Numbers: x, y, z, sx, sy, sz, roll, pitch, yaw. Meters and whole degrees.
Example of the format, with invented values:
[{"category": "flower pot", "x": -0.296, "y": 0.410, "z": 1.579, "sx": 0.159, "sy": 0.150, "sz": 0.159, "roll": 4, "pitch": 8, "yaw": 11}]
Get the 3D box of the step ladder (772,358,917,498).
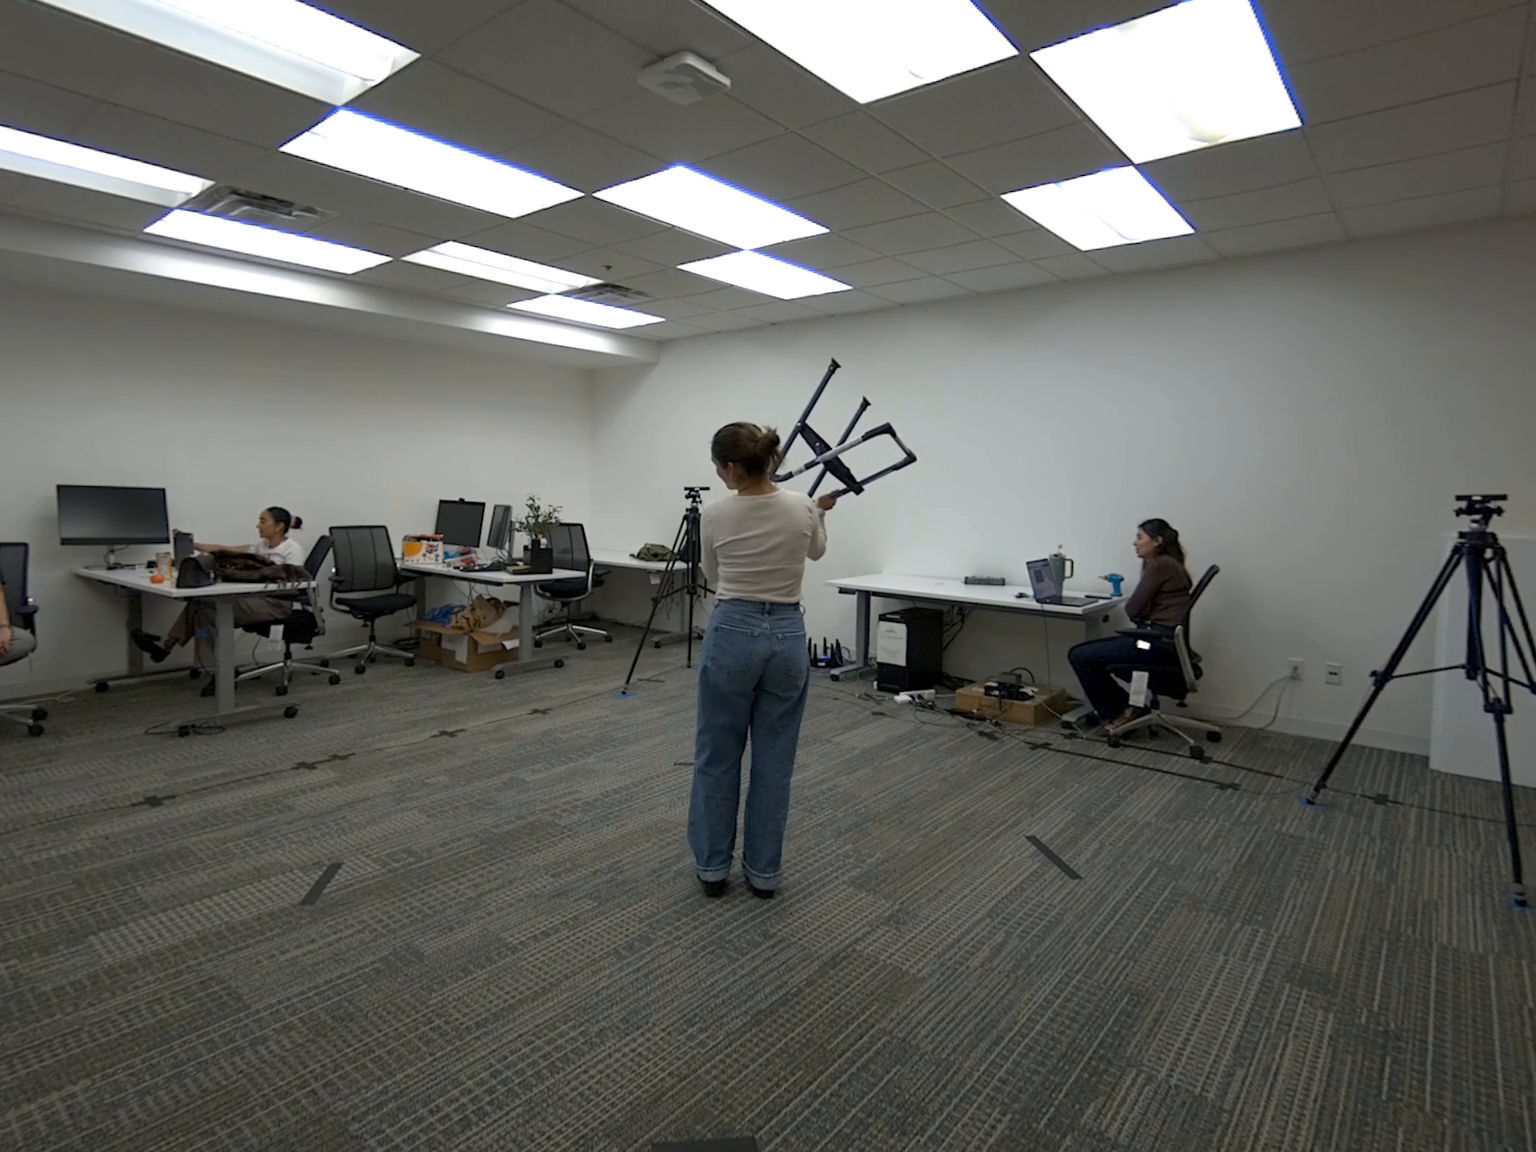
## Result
[{"category": "step ladder", "x": 0.162, "y": -0.423, "z": 3.176, "sx": 0.607, "sy": 0.361, "sz": 0.416, "roll": -41, "pitch": -24, "yaw": 13}]
